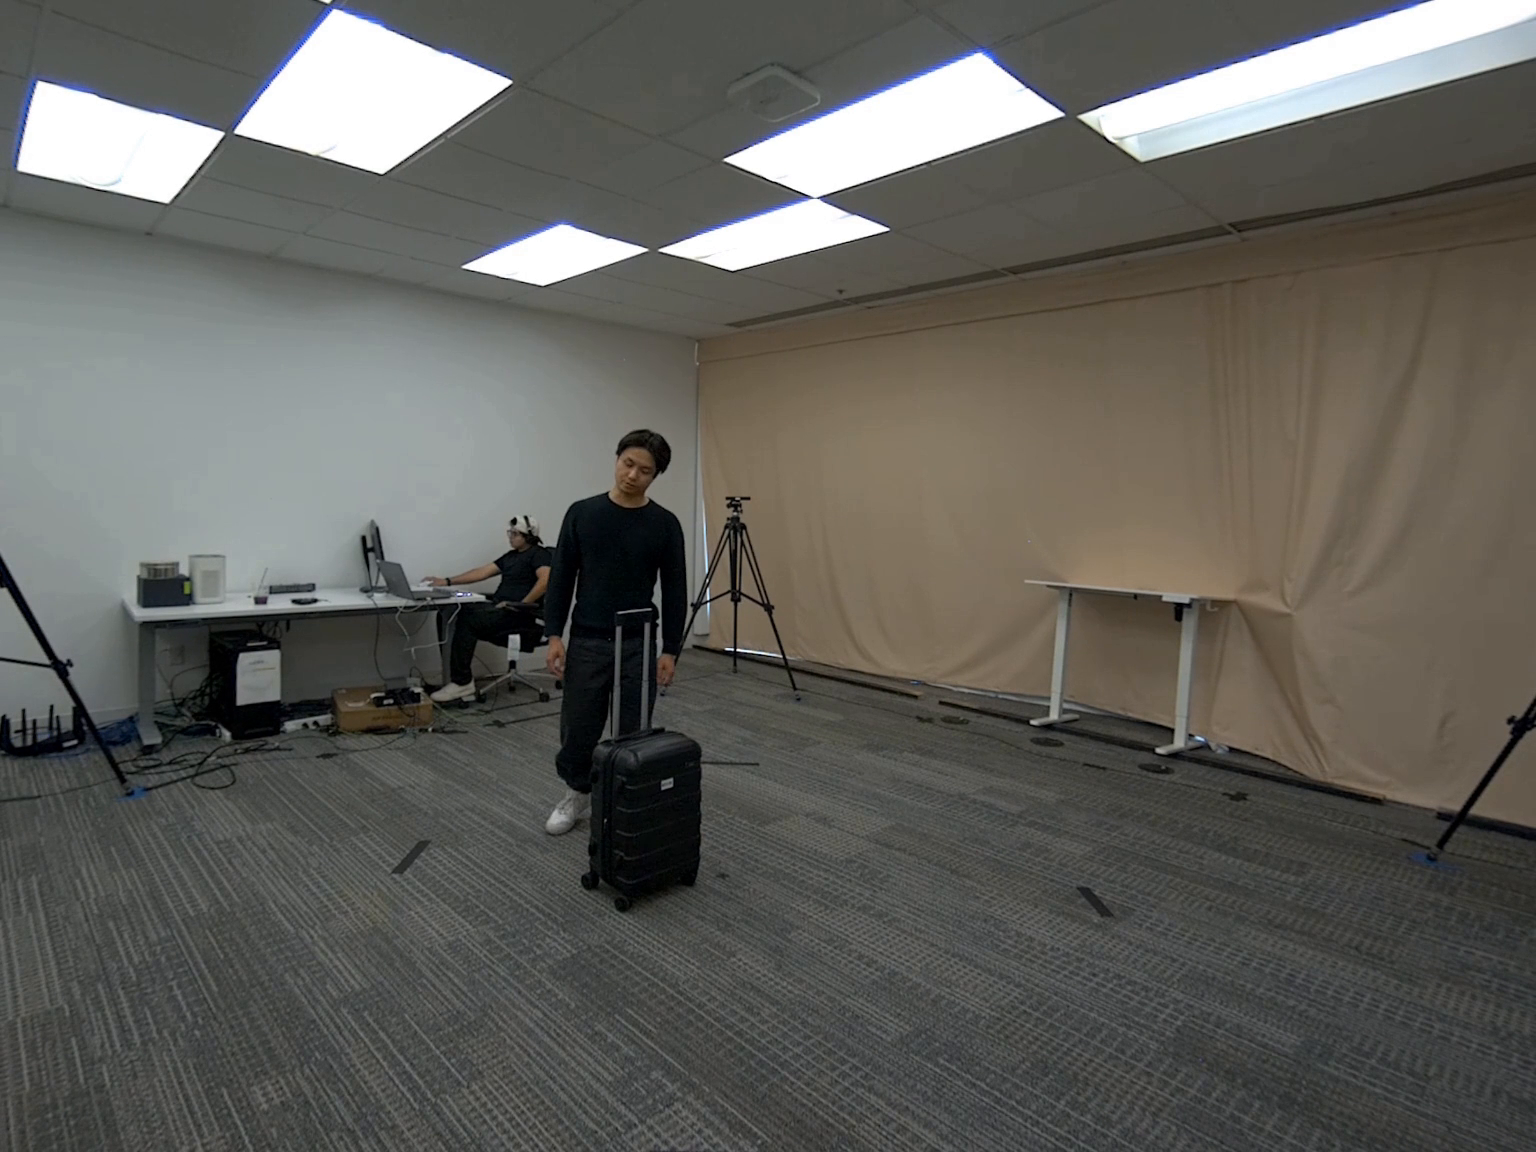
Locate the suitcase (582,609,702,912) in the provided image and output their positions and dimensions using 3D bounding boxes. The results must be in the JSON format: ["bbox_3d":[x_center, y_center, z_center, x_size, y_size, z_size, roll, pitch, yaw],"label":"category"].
[{"bbox_3d":[-0.428,0.637,2.972,0.375,0.975,0.264,-1,6,-45],"label":"suitcase"}]
